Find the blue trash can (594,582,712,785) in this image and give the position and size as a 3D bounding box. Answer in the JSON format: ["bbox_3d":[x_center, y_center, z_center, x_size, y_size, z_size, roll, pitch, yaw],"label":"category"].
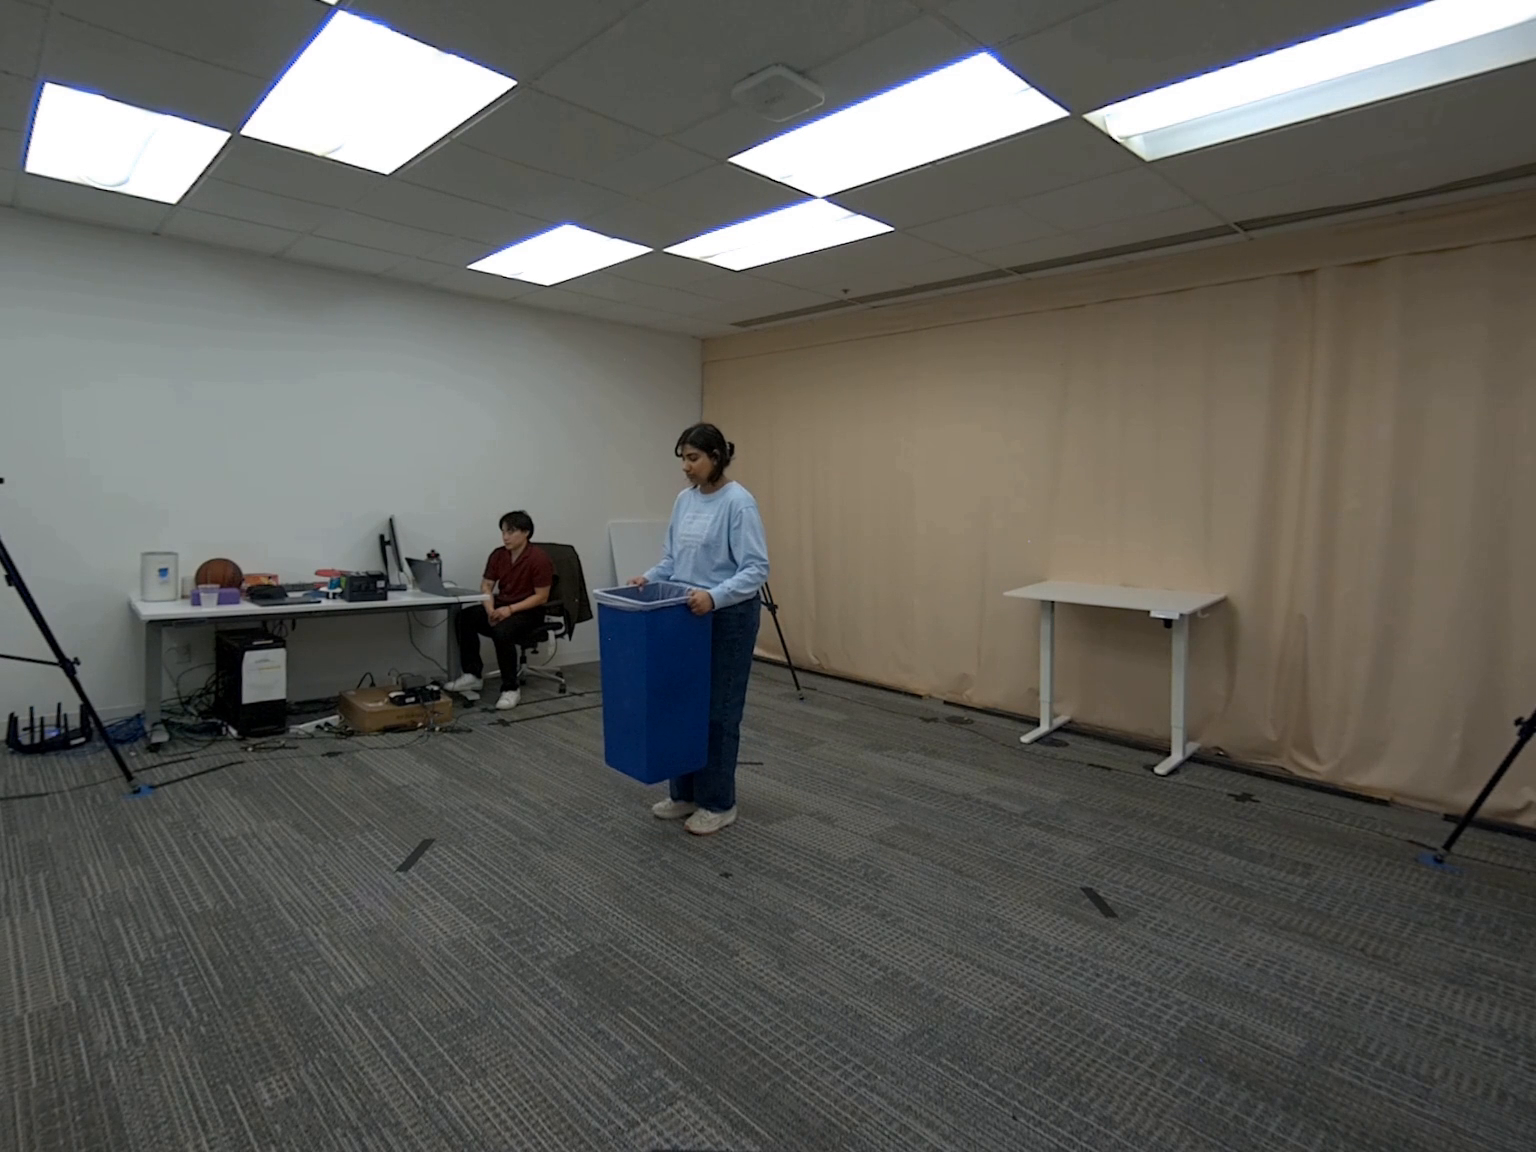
[{"bbox_3d":[-0.460,0.418,3.349,0.366,0.710,0.388,-6,9,-44],"label":"blue trash can"}]
